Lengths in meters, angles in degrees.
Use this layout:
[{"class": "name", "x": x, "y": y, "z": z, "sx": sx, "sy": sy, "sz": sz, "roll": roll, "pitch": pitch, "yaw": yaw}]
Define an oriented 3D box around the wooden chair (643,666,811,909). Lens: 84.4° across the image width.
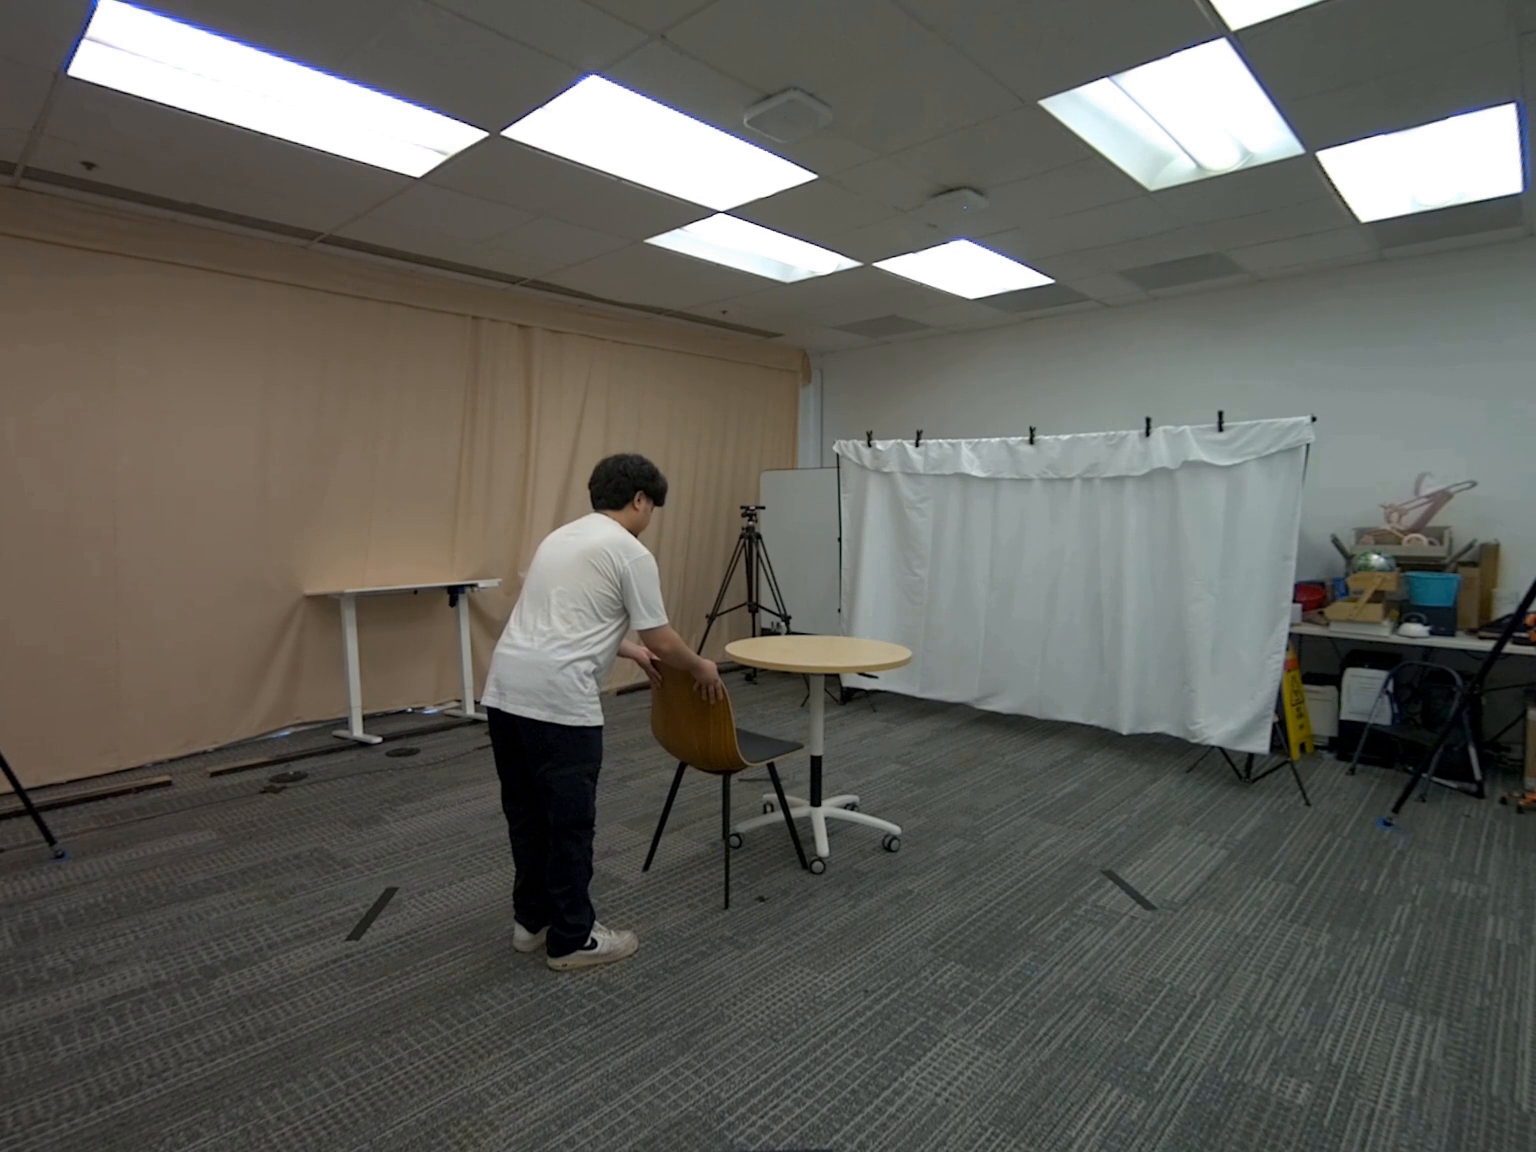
[{"class": "wooden chair", "x": -0.158, "y": 0.698, "z": 3.193, "sx": 0.494, "sy": 0.874, "sz": 0.508, "roll": 2, "pitch": 8, "yaw": 44}]
